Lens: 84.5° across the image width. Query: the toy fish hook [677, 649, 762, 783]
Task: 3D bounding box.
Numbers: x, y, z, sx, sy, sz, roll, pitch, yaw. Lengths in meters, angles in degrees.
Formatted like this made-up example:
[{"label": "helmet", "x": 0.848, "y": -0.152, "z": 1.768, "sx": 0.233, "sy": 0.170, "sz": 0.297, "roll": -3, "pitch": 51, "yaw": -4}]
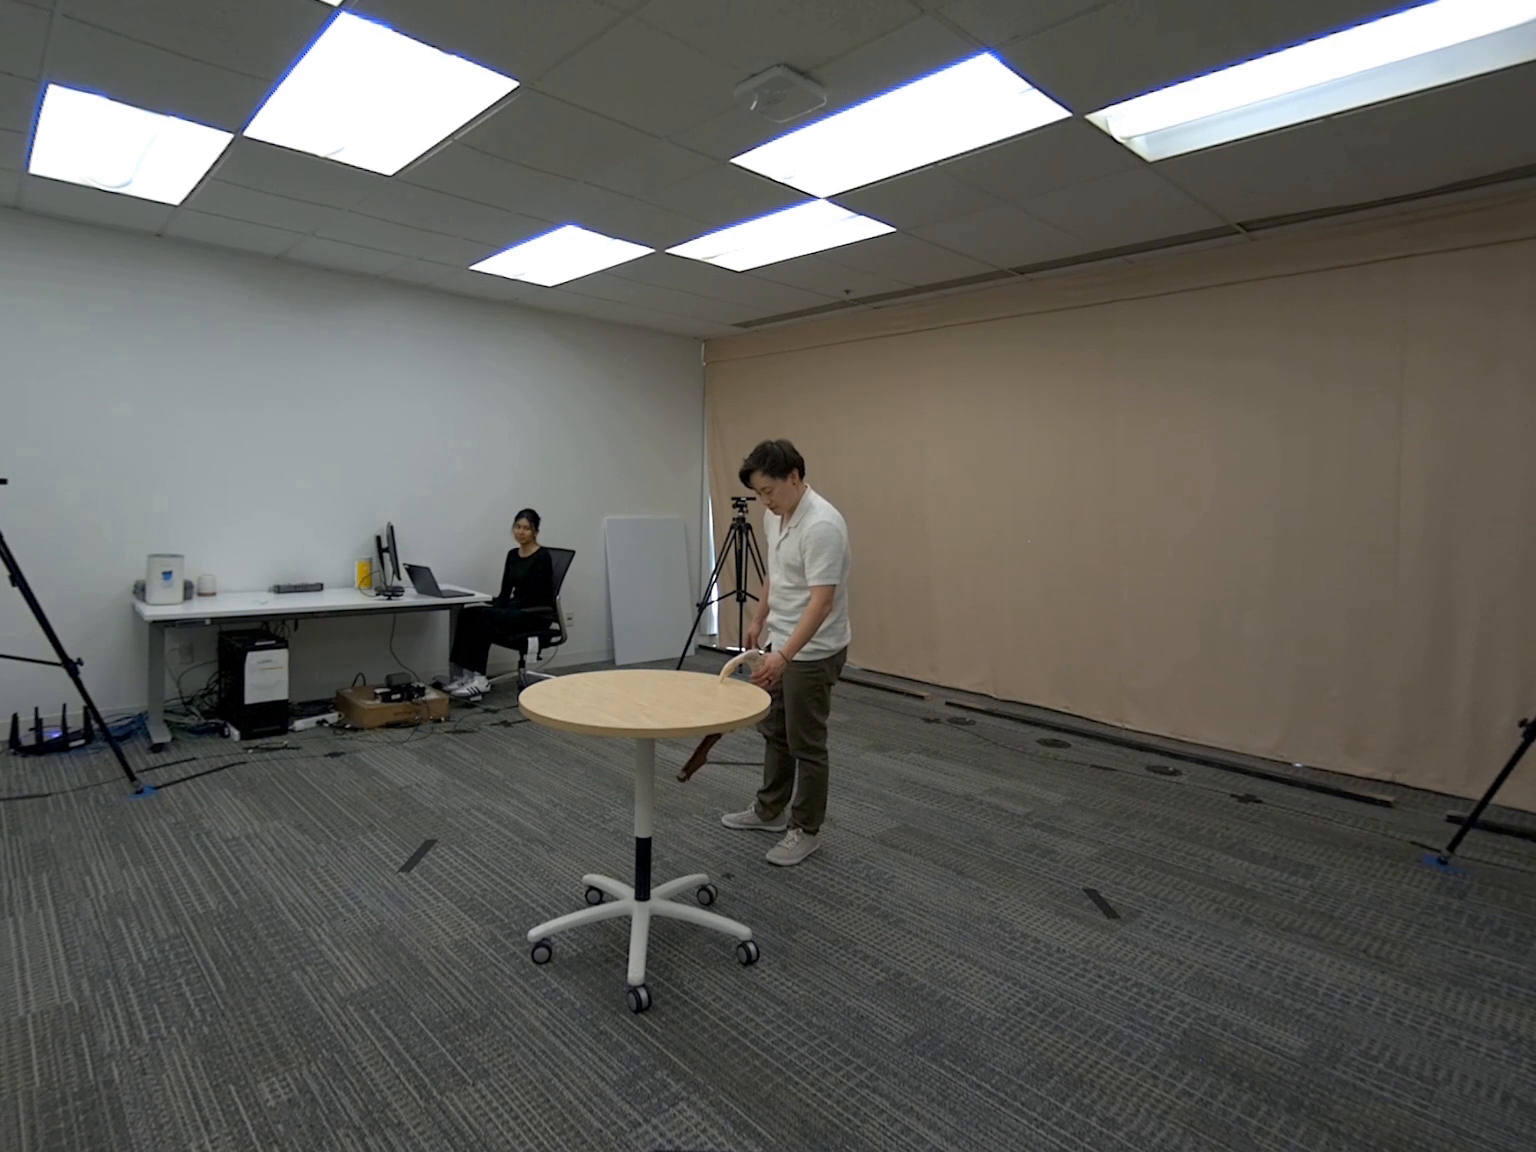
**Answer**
[{"label": "toy fish hook", "x": -0.174, "y": 0.456, "z": 2.794, "sx": 0.049, "sy": 0.219, "sz": 0.507, "roll": 3, "pitch": 43, "yaw": 46}]
